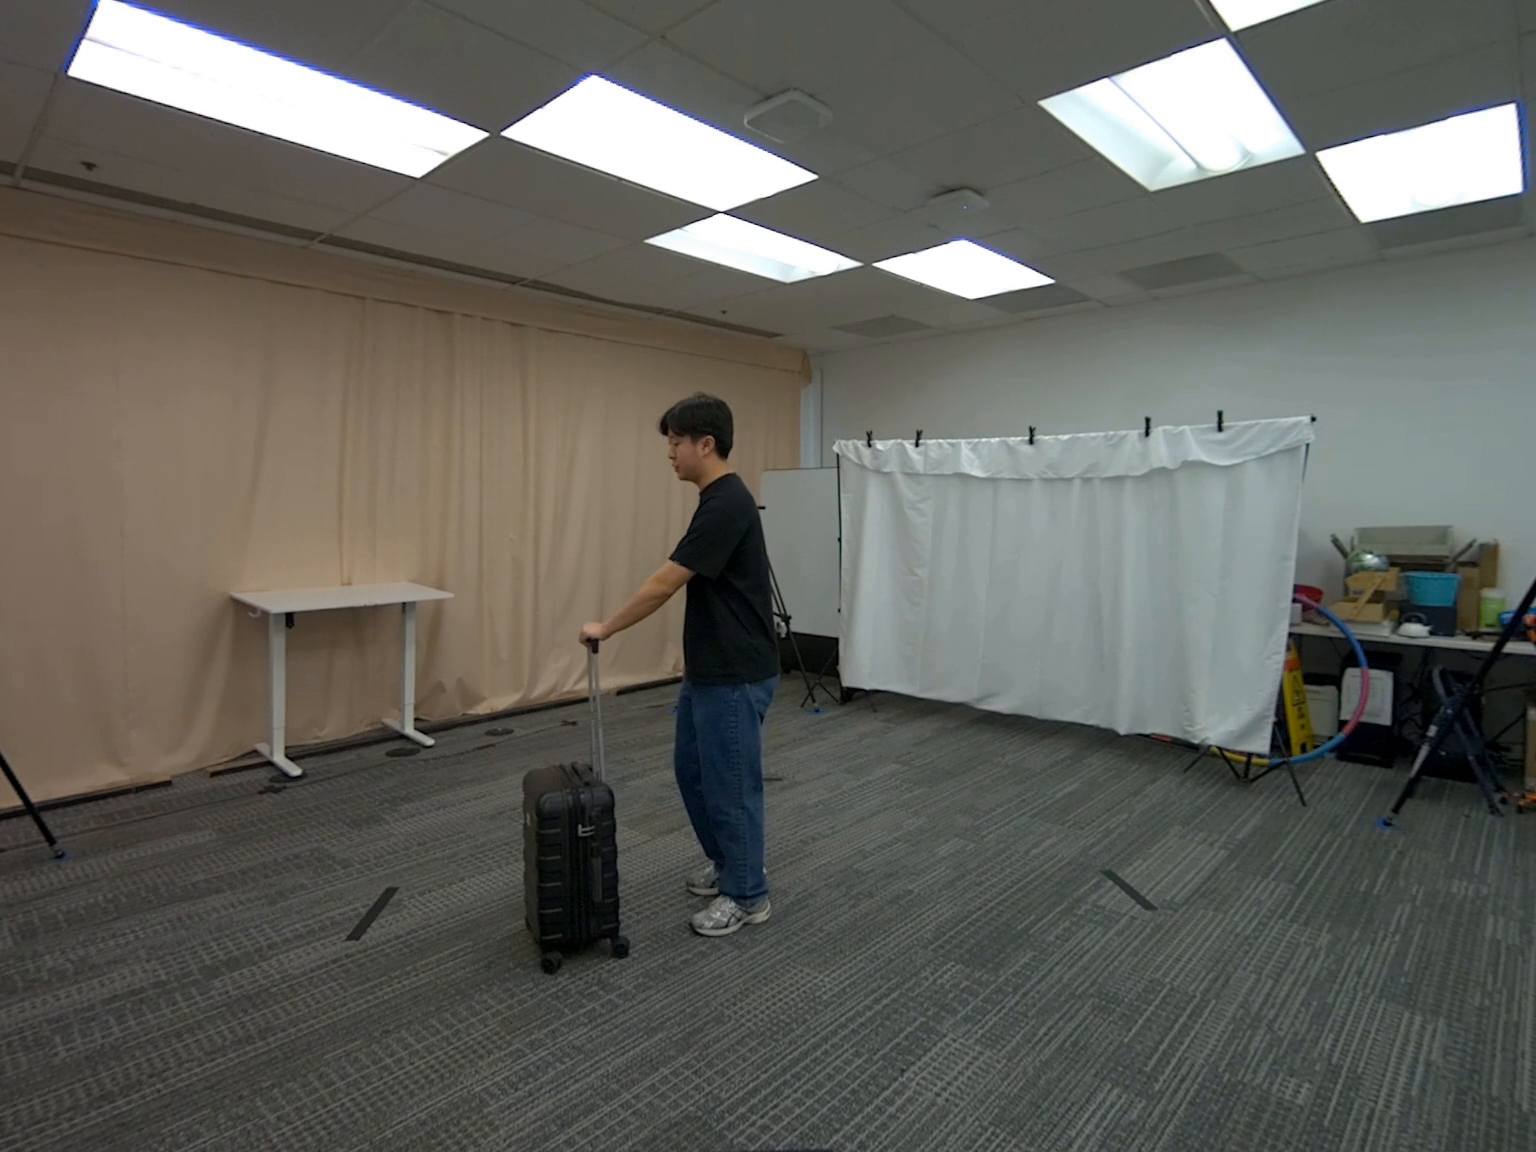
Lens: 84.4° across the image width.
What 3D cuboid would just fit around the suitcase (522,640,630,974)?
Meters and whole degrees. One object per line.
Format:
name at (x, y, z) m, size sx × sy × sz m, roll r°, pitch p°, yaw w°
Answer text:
suitcase at (-0.648, 0.700, 2.680) m, size 0.252 × 0.976 × 0.393 m, roll -6°, pitch 3°, yaw -22°
